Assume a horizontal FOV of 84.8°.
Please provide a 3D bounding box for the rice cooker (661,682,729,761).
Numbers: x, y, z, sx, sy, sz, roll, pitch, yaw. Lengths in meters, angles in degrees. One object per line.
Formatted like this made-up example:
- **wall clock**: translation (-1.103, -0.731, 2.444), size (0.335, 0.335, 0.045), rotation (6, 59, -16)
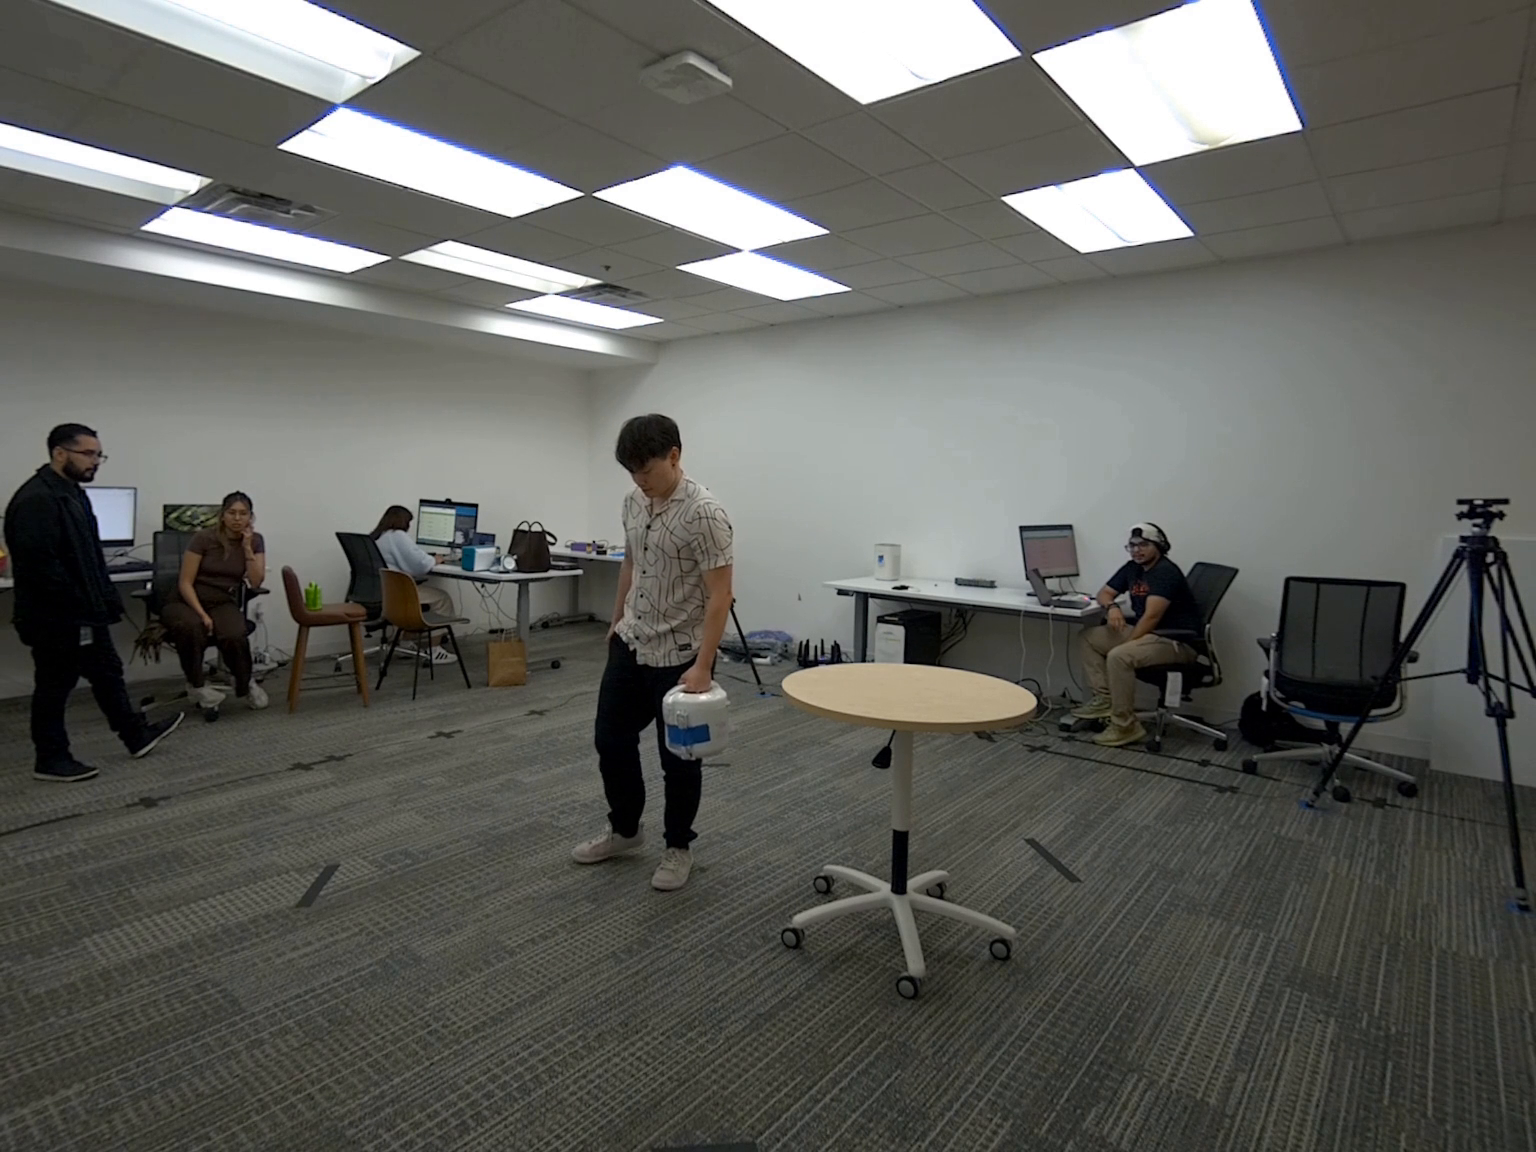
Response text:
- **rice cooker**: translation (-0.245, 0.453, 2.787), size (0.215, 0.232, 0.223), rotation (-3, 5, -27)
